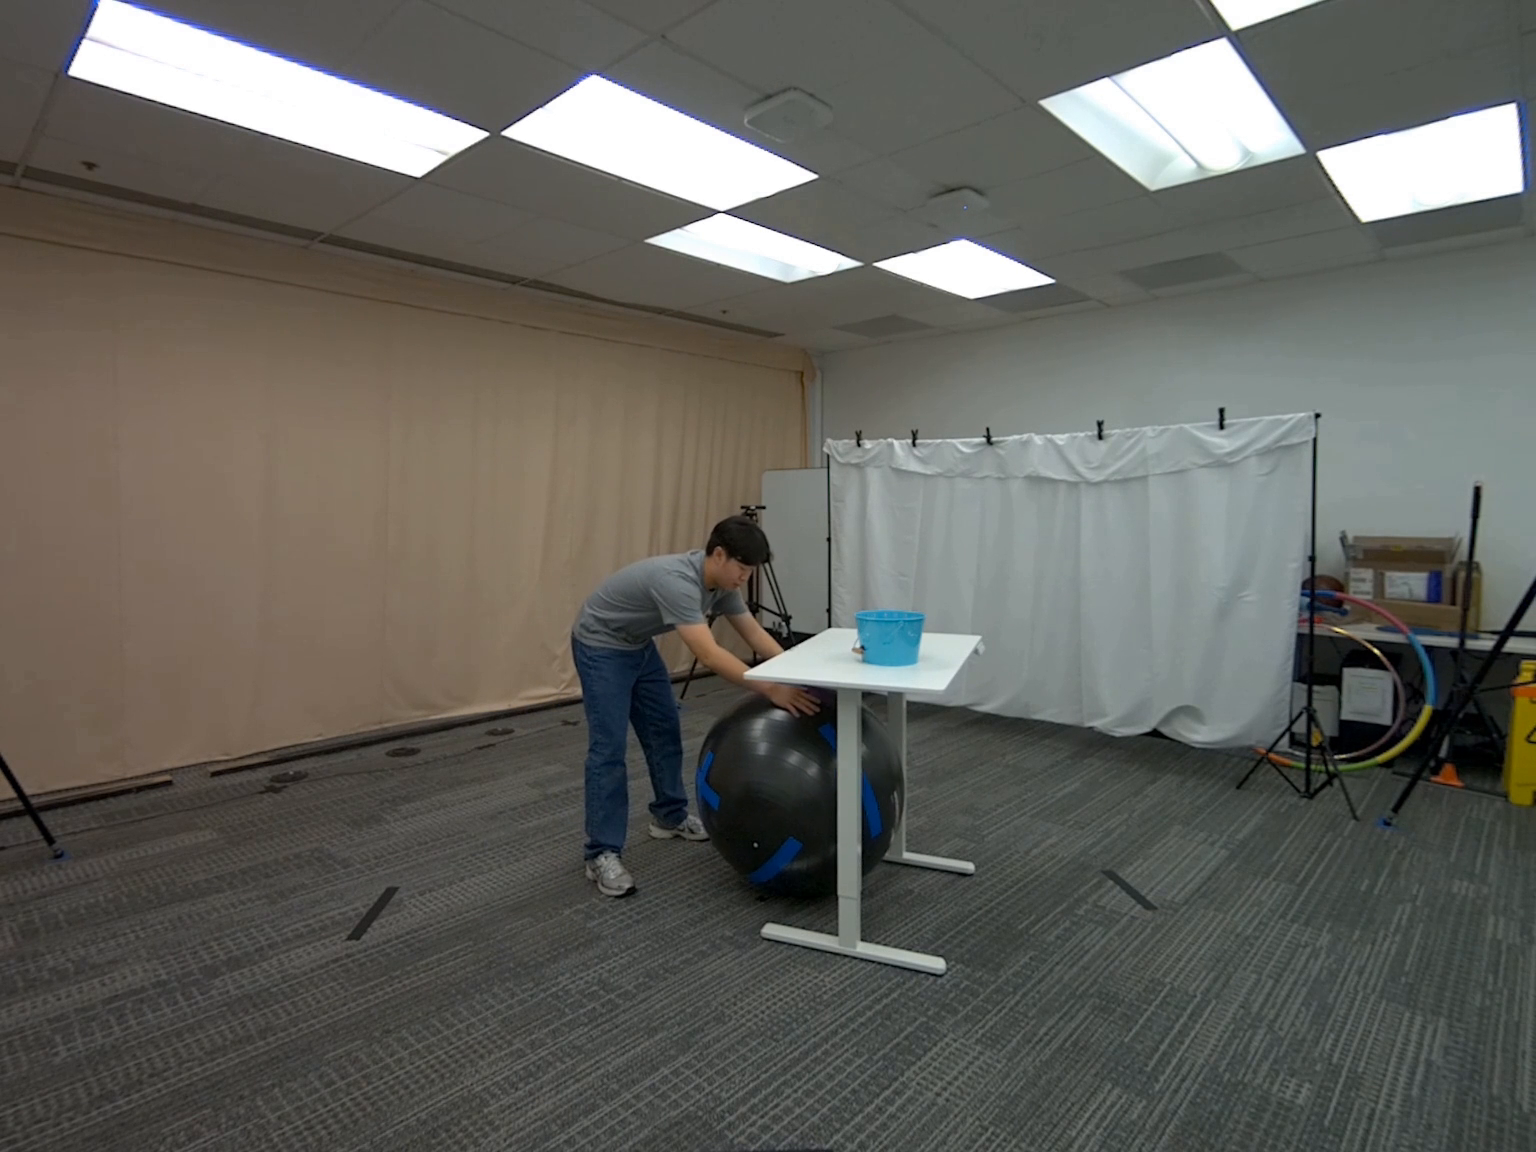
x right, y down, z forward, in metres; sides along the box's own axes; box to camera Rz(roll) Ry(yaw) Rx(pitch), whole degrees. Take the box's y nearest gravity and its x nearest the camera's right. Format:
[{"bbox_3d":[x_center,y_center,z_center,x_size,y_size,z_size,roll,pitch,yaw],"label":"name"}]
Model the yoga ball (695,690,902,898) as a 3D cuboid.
[{"bbox_3d":[0.114,0.766,3.093,0.757,0.756,0.760,0,4,-2],"label":"yoga ball"}]
